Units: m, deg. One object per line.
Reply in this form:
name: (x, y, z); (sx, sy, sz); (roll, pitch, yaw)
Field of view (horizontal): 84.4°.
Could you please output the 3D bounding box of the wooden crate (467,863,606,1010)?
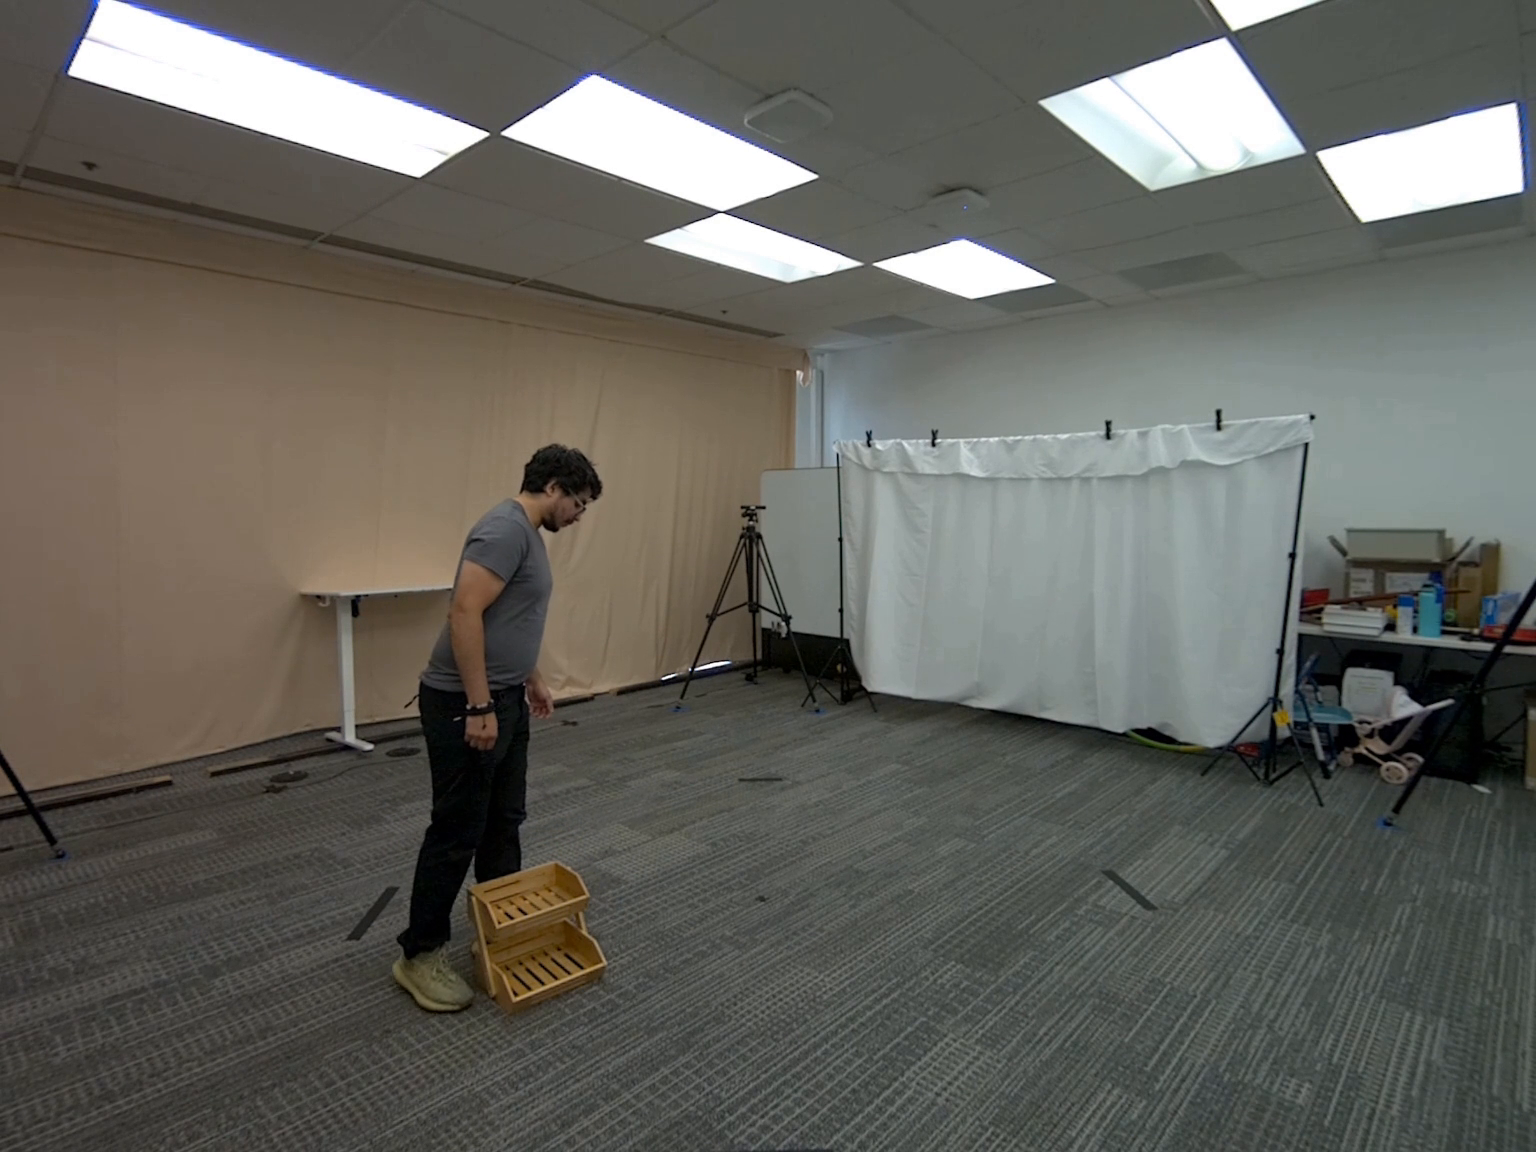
wooden crate: (-0.685, 1.060, 2.483); (0.314, 0.273, 0.312); (-4, 4, -41)
